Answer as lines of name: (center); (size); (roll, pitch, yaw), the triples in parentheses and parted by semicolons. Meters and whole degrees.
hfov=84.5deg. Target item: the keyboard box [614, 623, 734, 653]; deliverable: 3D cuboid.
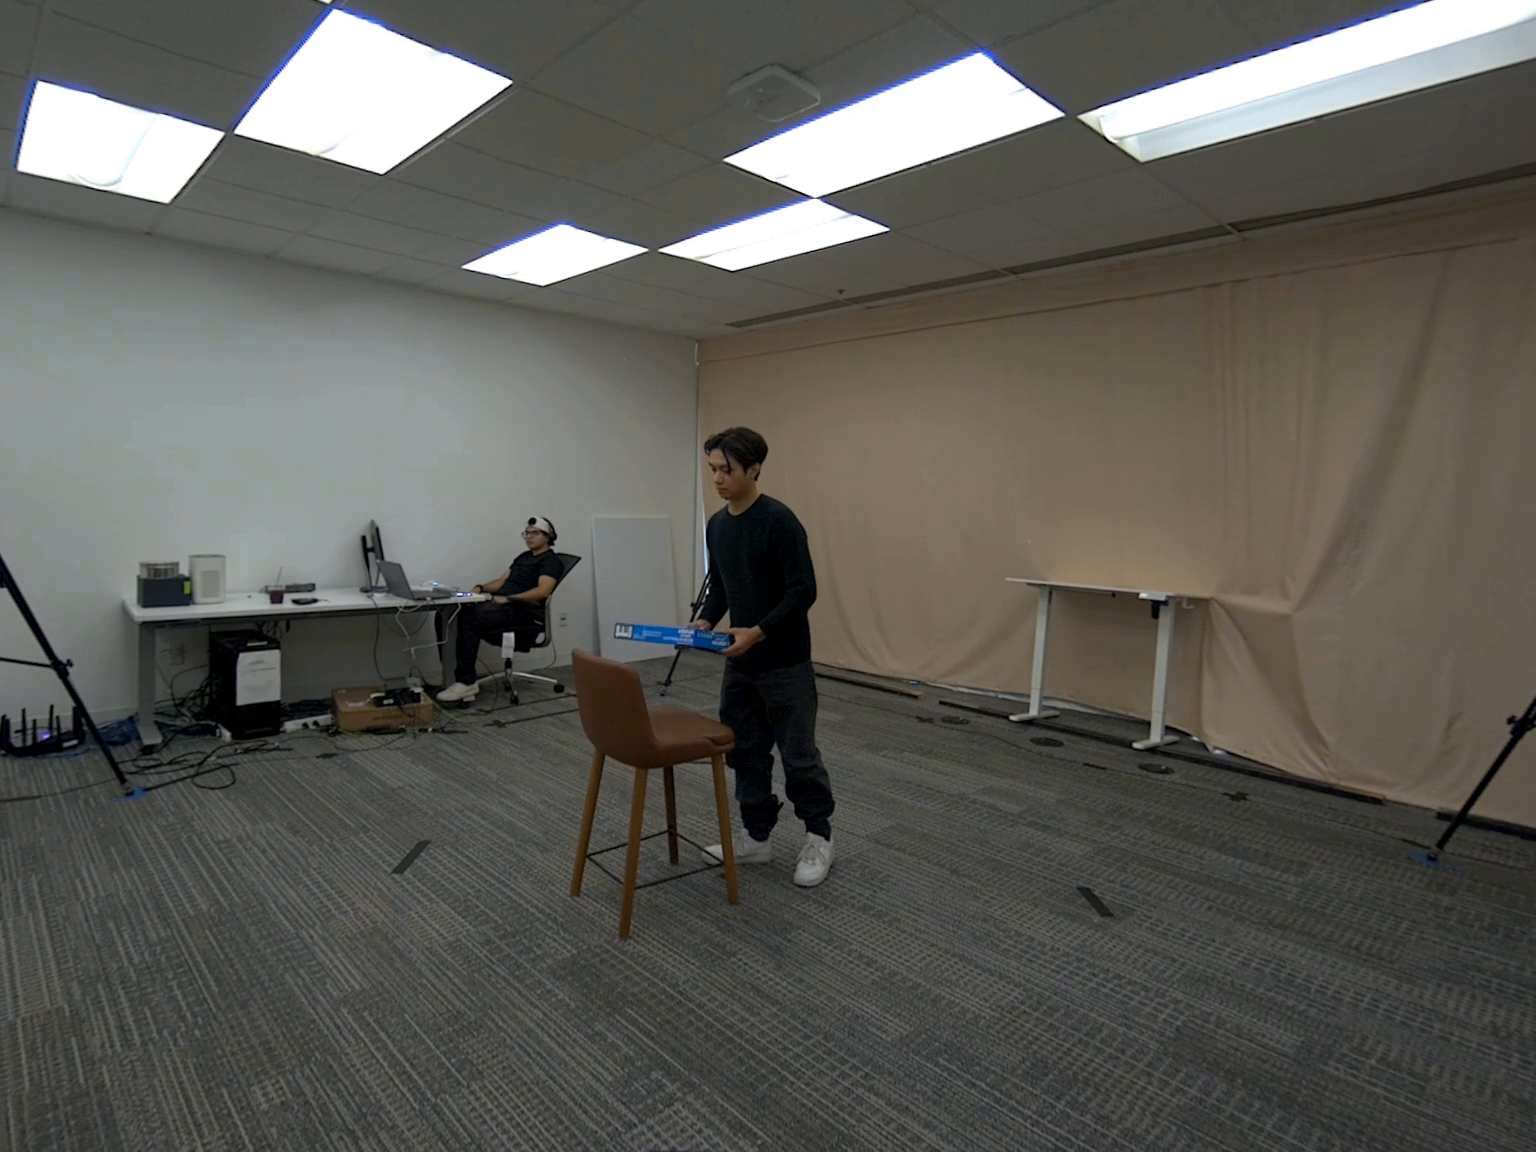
keyboard box: (-0.360, 0.216, 3.072); (0.447, 0.059, 0.171); (1, -8, 43)
